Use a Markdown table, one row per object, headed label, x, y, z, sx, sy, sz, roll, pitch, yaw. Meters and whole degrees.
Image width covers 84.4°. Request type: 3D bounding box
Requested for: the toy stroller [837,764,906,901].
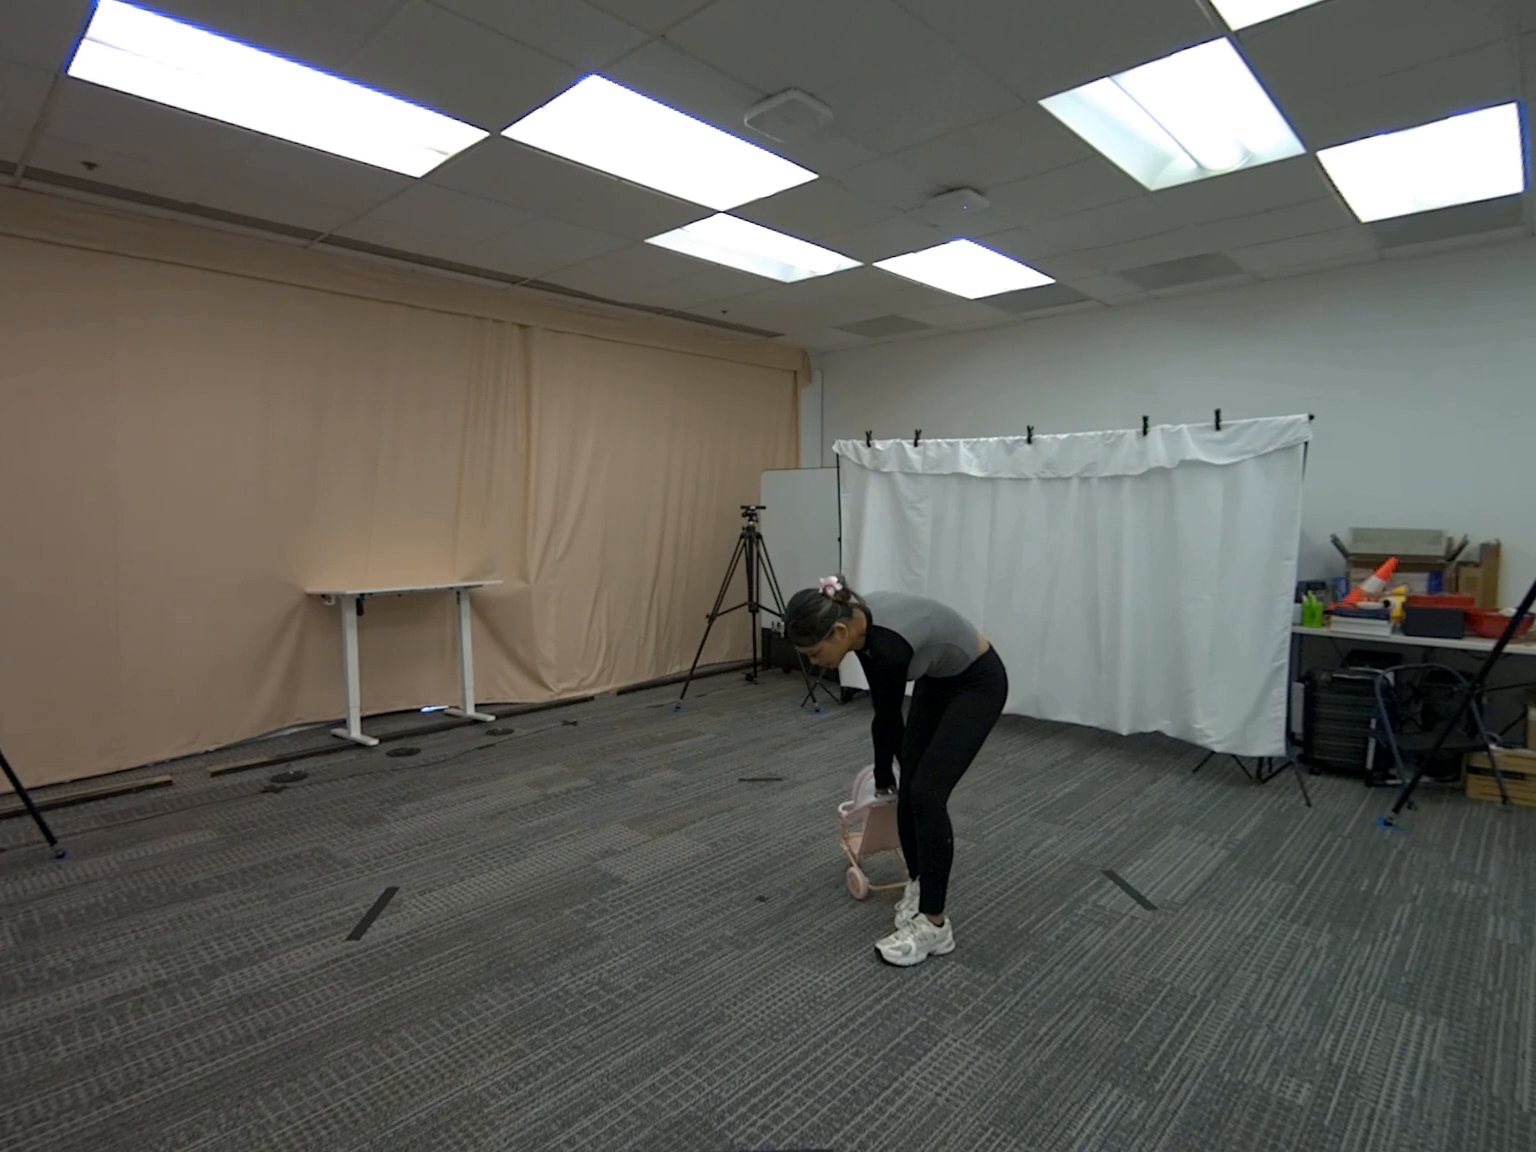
| label | x | y | z | sx | sy | sz | roll | pitch | yaw |
| --- | --- | --- | --- | --- | --- | --- | --- | --- | --- |
| toy stroller | 0.403 | 0.908 | 3.072 | 0.277 | 0.529 | 0.350 | -3 | 21 | -16 |
